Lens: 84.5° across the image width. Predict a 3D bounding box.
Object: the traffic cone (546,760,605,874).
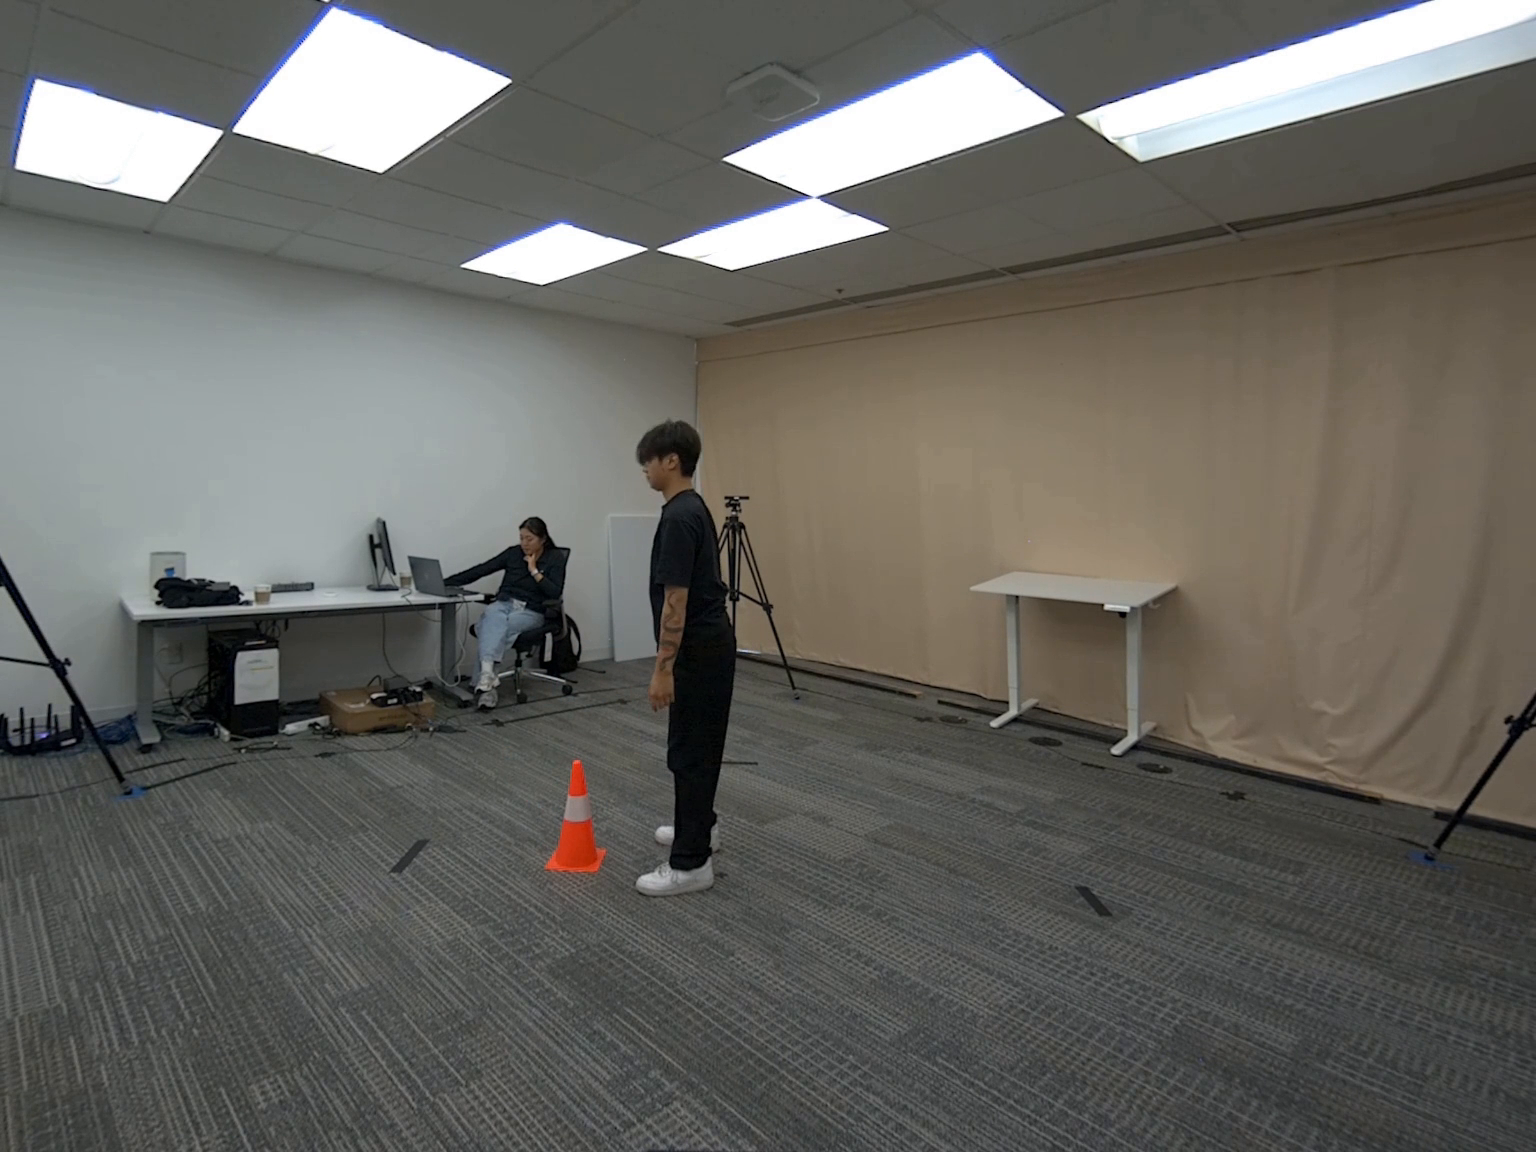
[{"bbox_3d":[-0.745,0.900,3.202,0.203,0.383,0.205,1,2,-1],"label":"traffic cone"}]
